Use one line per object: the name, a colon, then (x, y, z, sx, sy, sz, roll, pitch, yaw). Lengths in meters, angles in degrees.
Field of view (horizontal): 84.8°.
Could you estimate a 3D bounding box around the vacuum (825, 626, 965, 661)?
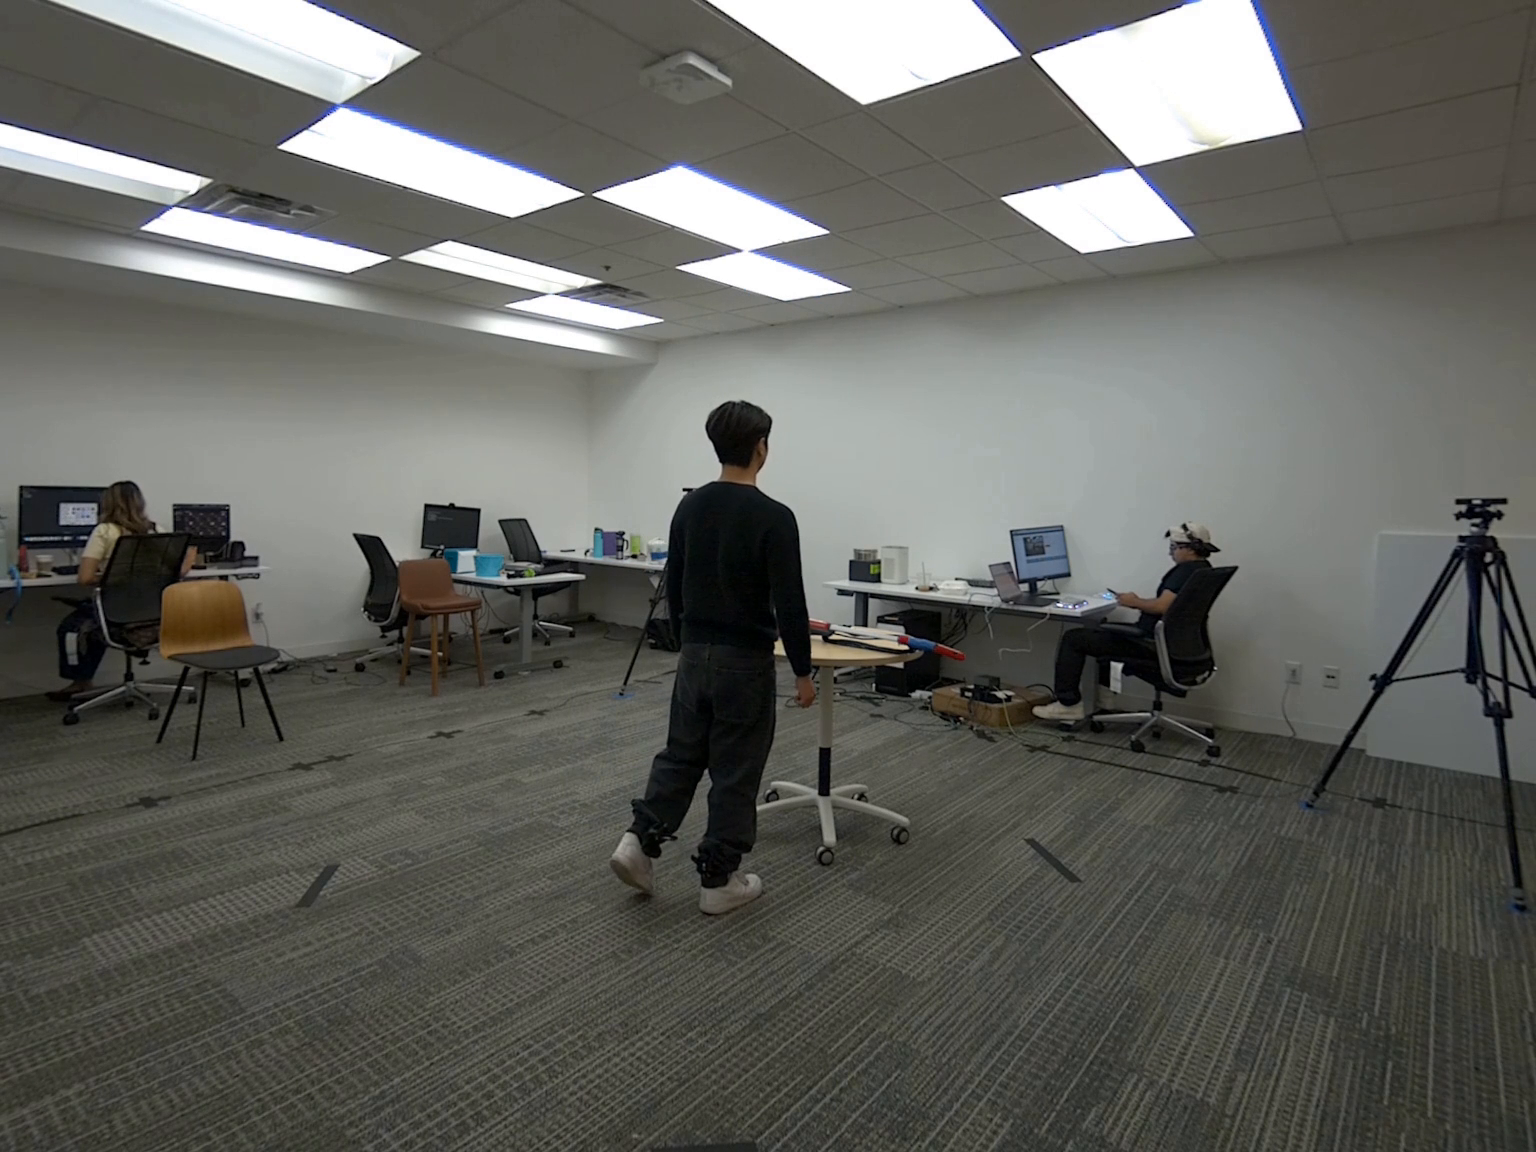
vacuum: (0.263, 0.231, 3.385, 1.086, 0.255, 0.138, 9, -25, 37)
